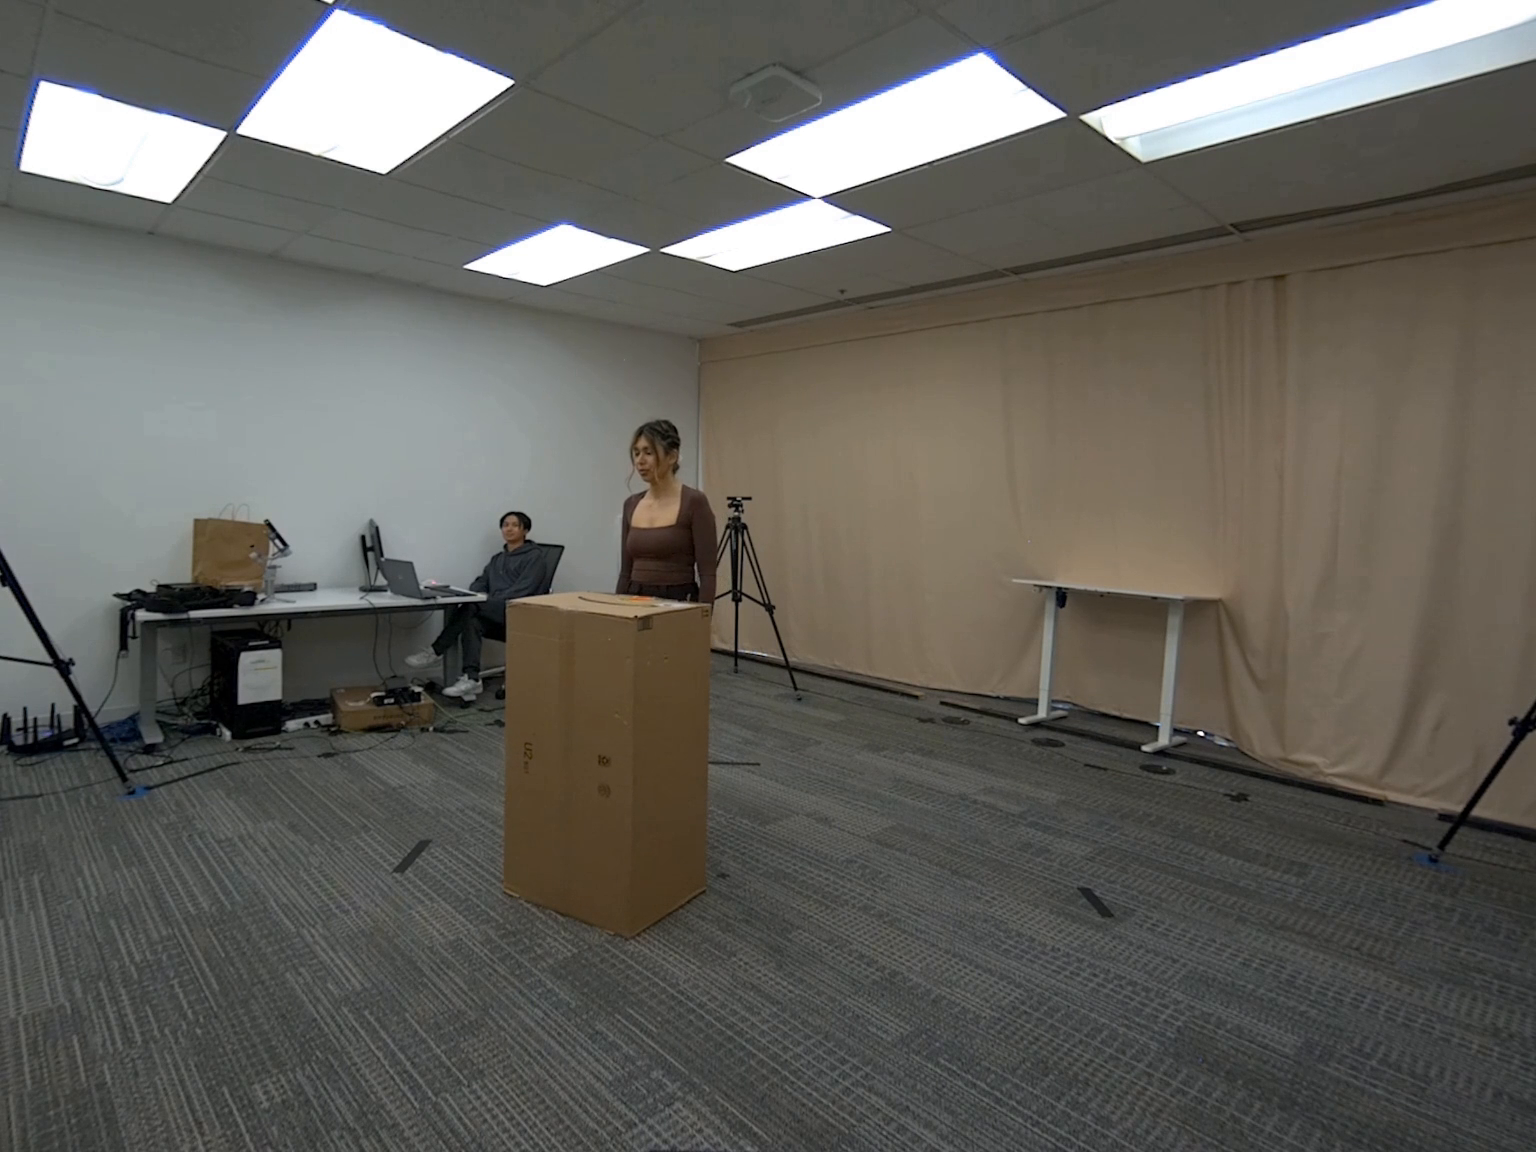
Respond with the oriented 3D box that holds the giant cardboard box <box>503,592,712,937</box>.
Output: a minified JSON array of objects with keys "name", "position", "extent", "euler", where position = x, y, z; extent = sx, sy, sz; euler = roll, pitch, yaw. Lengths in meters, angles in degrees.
[{"name":"giant cardboard box","position":[-0.564,0.602,2.938],"extent":[0.597,1.025,0.437],"euler":[4,3,33]}]
